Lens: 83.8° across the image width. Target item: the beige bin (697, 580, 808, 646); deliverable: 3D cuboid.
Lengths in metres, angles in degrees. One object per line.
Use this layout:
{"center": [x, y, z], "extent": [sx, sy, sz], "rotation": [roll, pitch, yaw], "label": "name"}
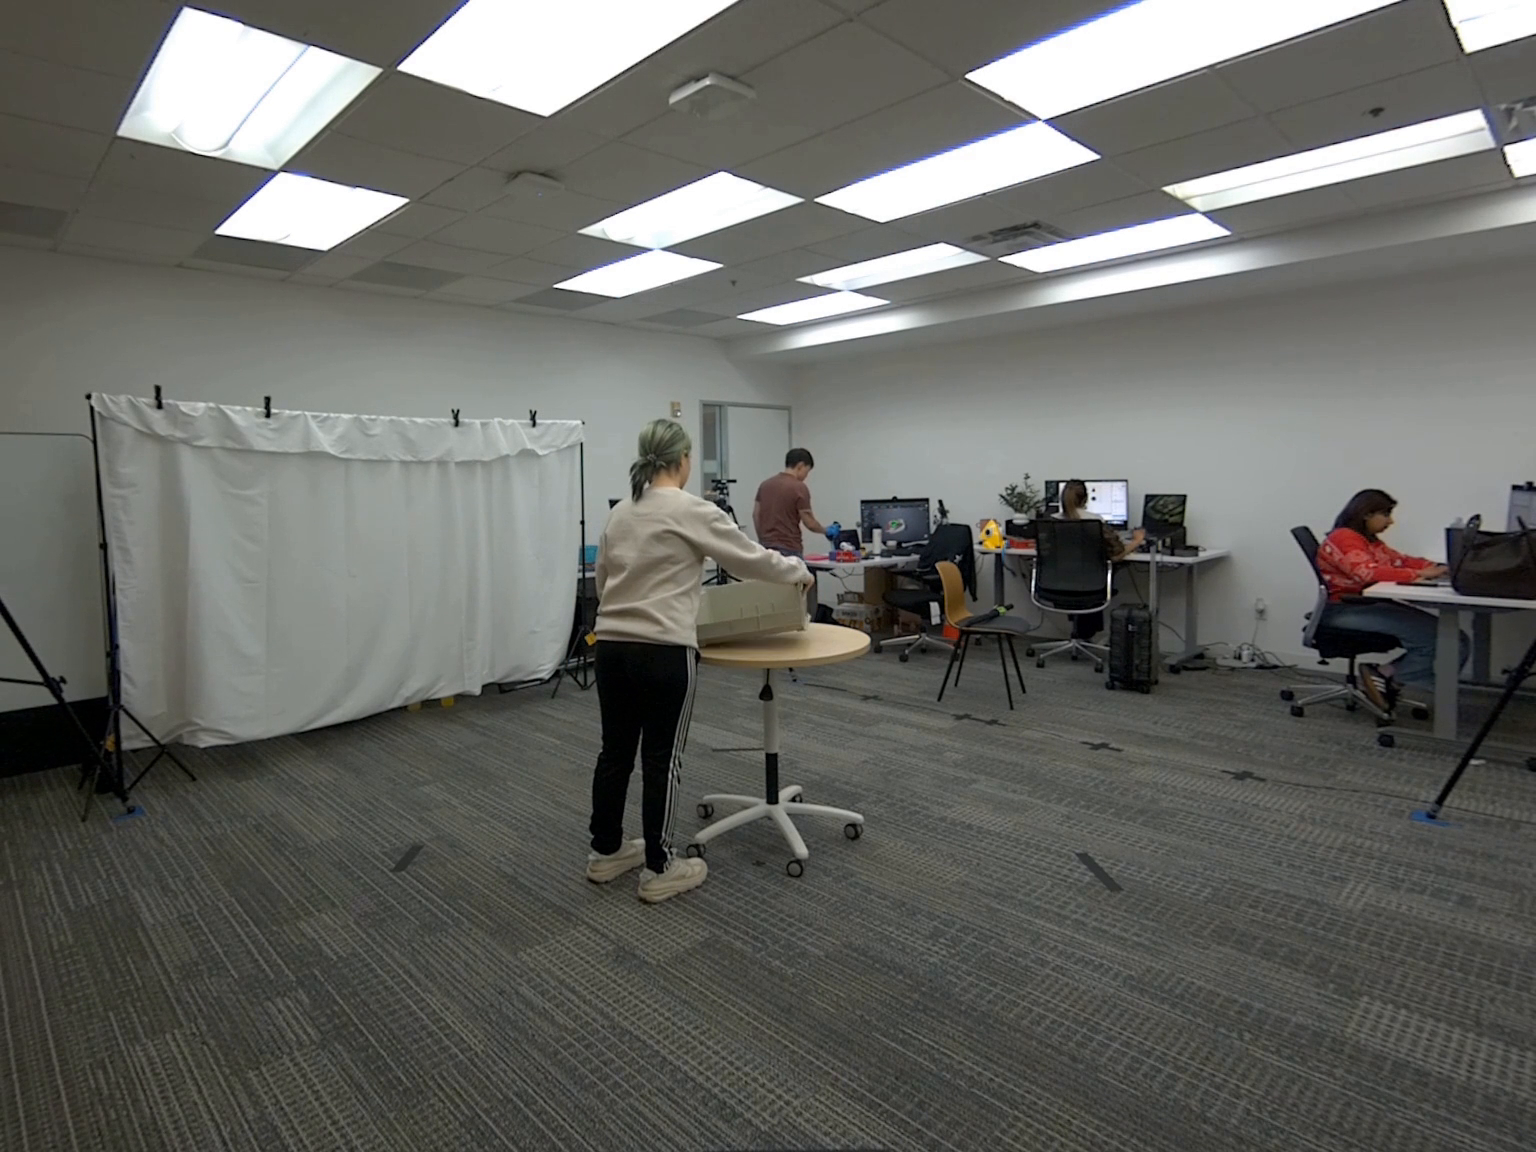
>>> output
{"center": [-0.063, 0.123, 3.248], "extent": [0.425, 0.189, 0.376], "rotation": [-10, 3, 7], "label": "beige bin"}
